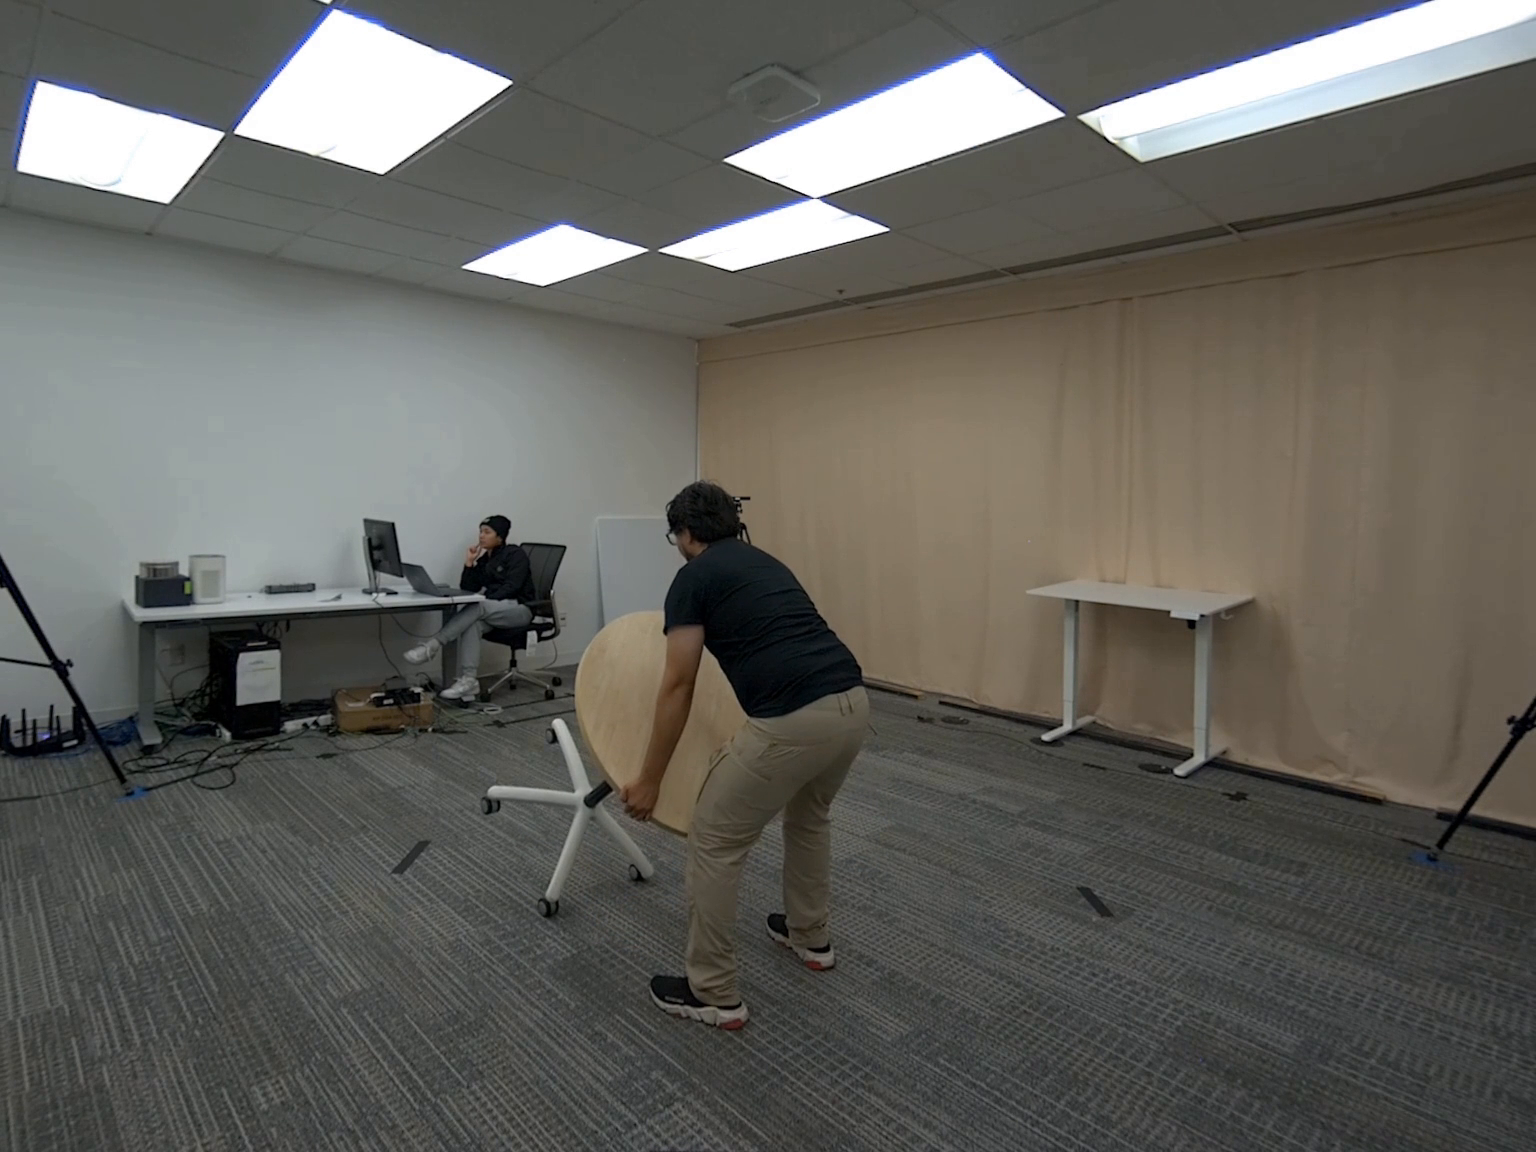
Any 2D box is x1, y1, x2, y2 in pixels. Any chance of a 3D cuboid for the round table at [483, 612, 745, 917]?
[{"bbox_3d":[-0.478,0.662,2.837,0.767,0.802,0.787,-3,-33,-47],"label":"round table"}]
